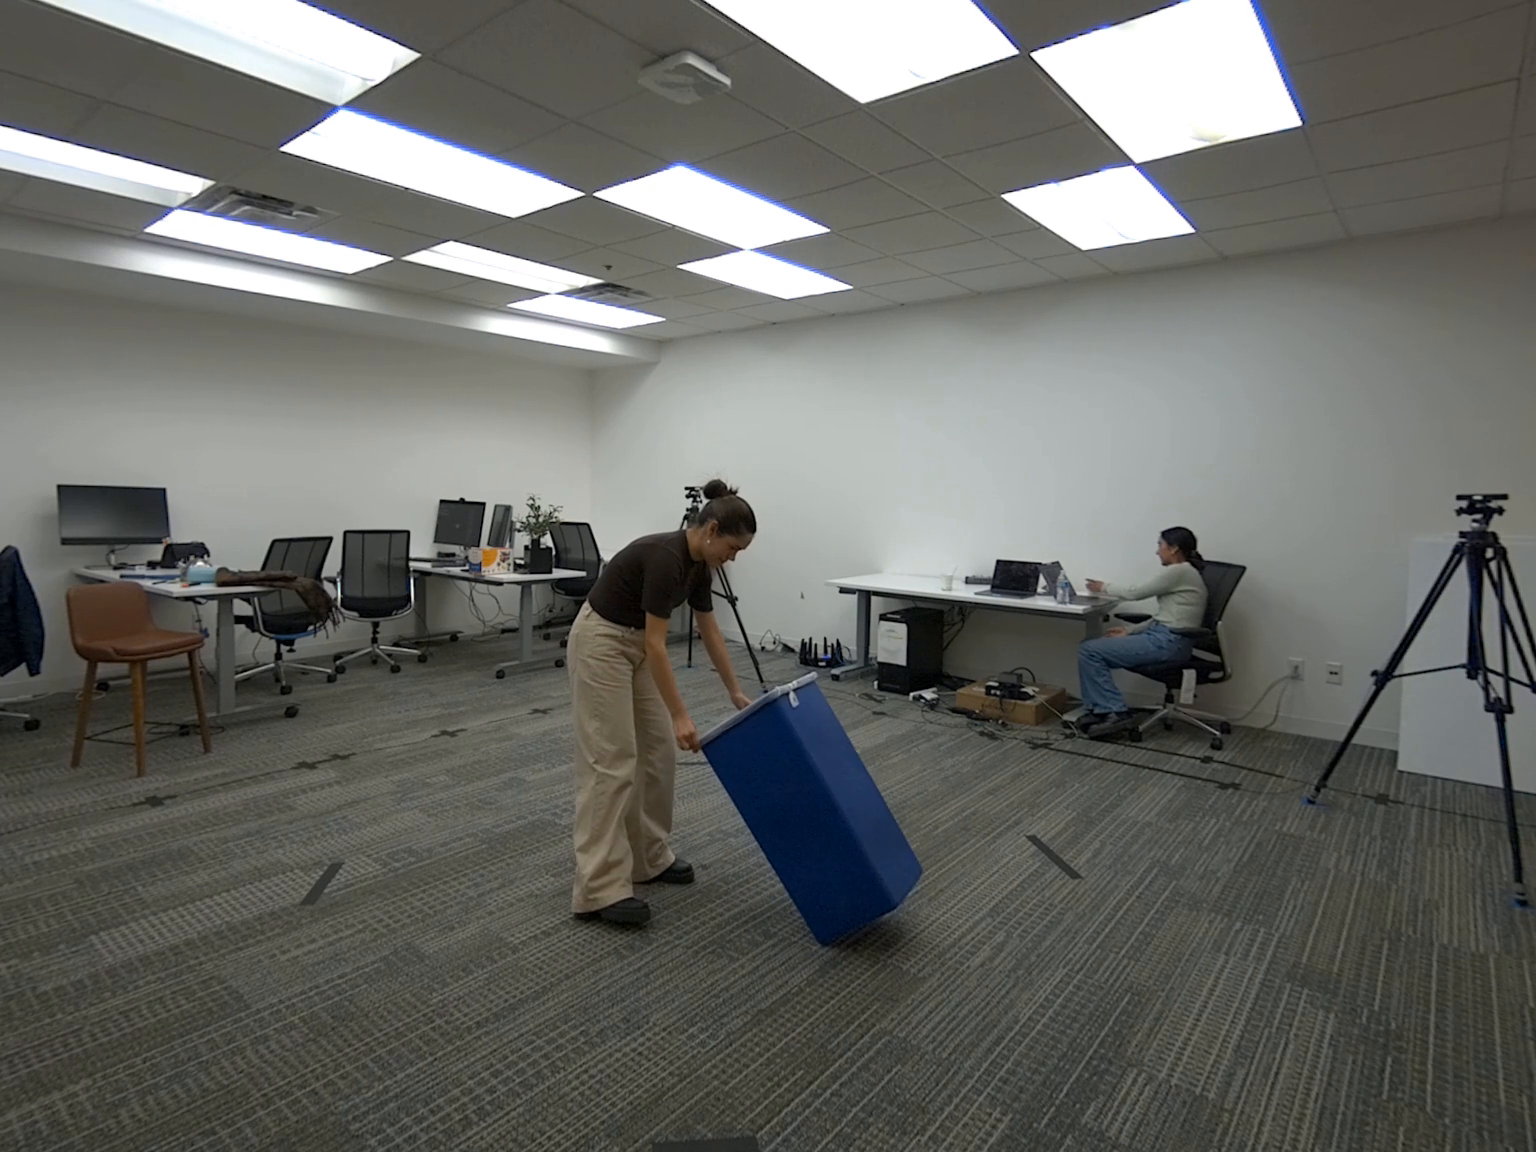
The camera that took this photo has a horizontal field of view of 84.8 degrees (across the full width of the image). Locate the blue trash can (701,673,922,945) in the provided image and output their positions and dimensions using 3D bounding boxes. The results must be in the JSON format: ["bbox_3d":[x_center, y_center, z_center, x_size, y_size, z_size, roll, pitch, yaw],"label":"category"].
[{"bbox_3d":[0.129,0.735,2.741,0.376,0.728,0.368,-37,-15,23],"label":"blue trash can"}]
